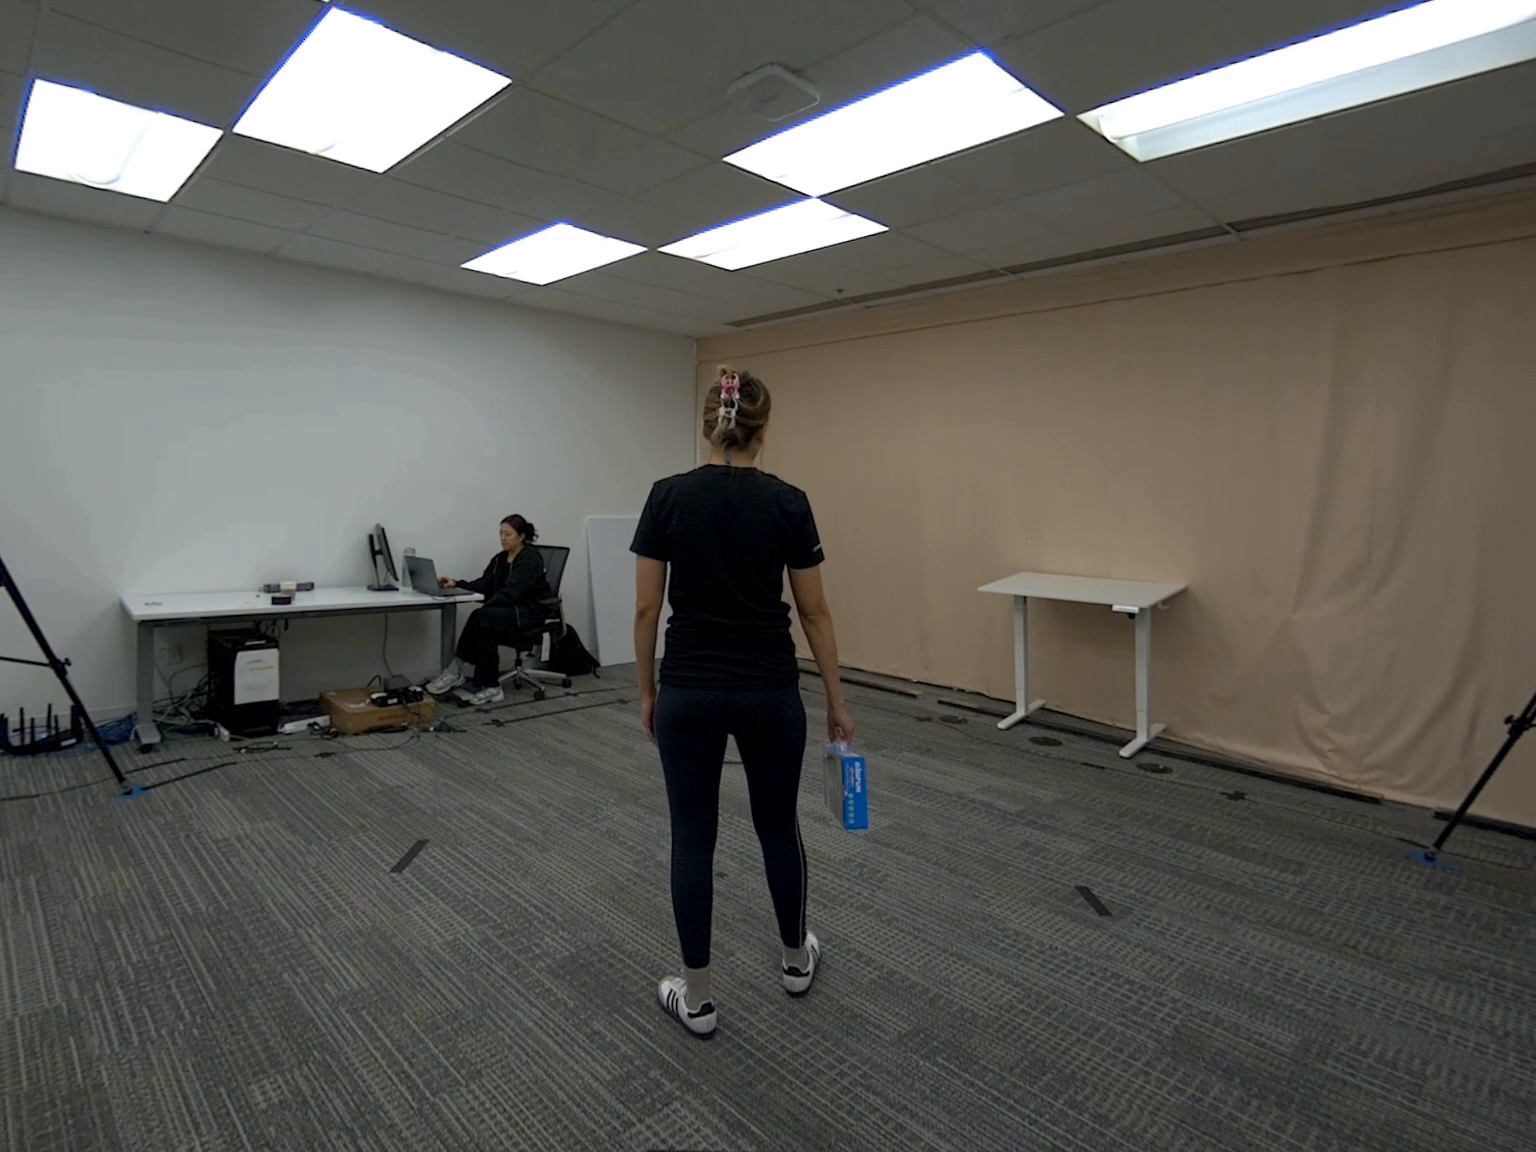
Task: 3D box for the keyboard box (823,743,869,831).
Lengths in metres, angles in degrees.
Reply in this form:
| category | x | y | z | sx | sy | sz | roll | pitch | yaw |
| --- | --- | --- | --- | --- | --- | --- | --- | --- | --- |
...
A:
| category | x | y | z | sx | sy | sz | roll | pitch | yaw |
| --- | --- | --- | --- | --- | --- | --- | --- | --- | --- |
| keyboard box | 0.199 | 0.559 | 2.272 | 0.059 | 0.177 | 0.434 | -1 | -9 | -3 |
